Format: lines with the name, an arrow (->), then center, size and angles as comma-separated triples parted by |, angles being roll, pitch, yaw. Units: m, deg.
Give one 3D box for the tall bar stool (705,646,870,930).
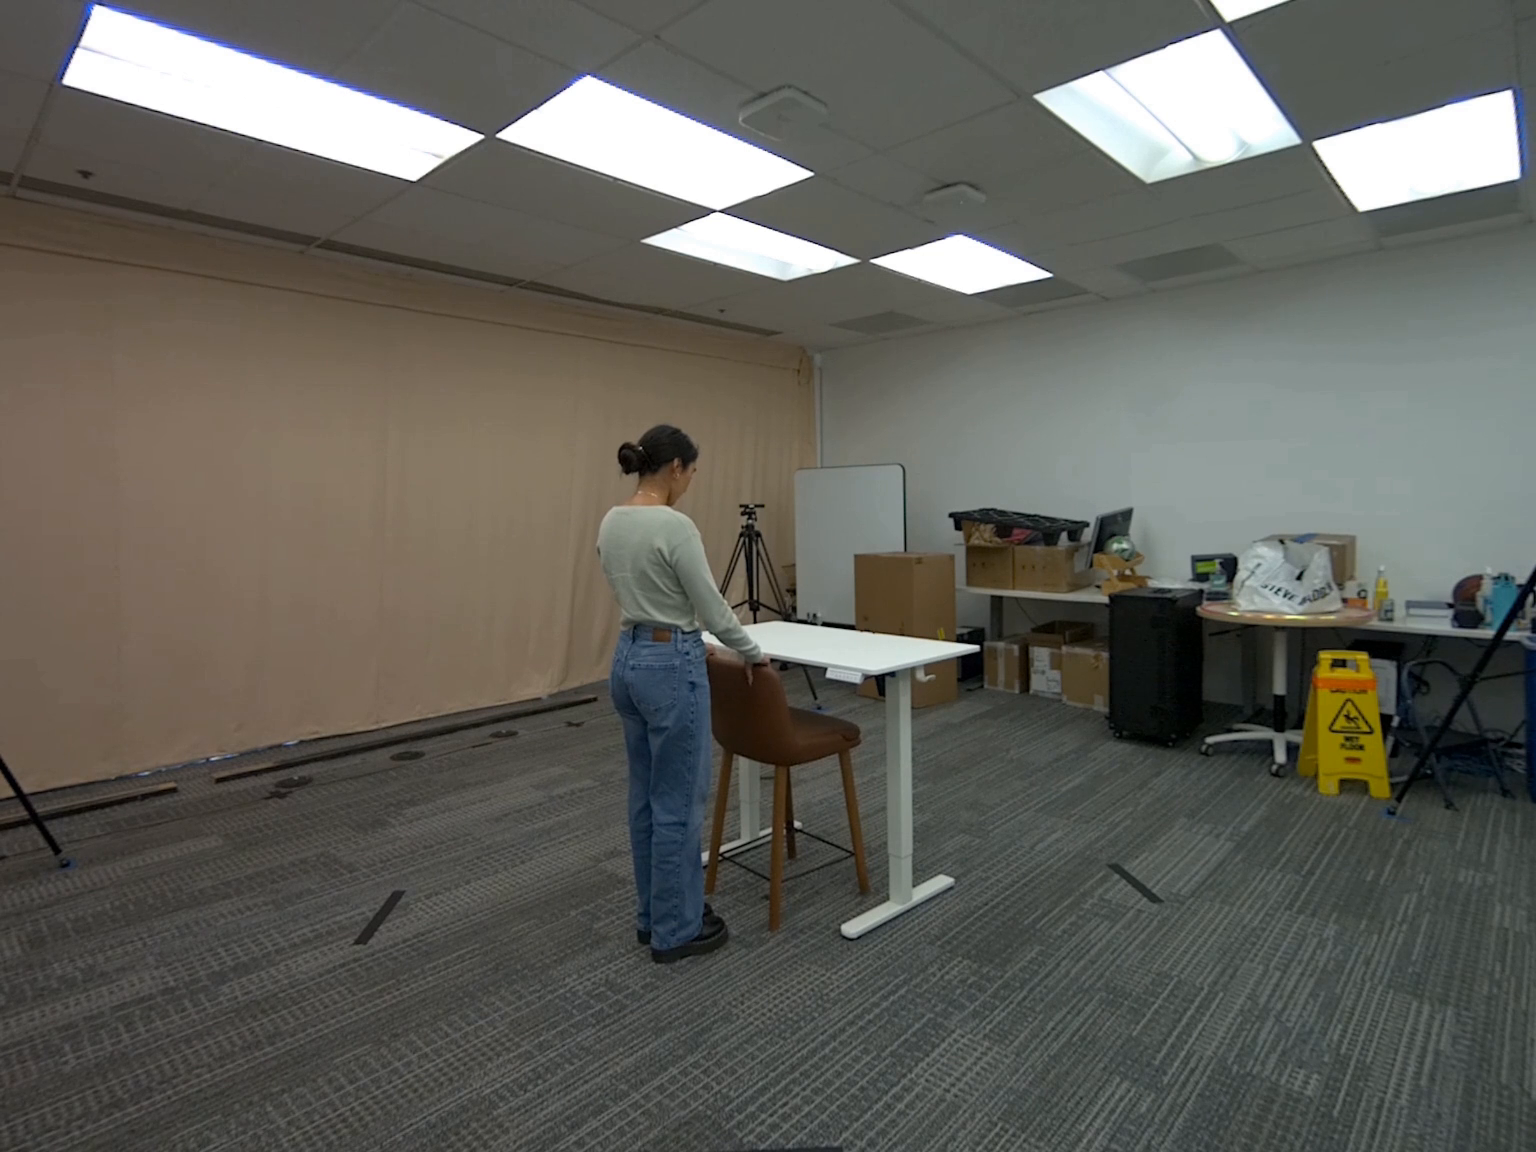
tall bar stool -> 0.046, 0.703, 2.991 | 0.454, 0.887, 0.471 | -7, 6, -39
